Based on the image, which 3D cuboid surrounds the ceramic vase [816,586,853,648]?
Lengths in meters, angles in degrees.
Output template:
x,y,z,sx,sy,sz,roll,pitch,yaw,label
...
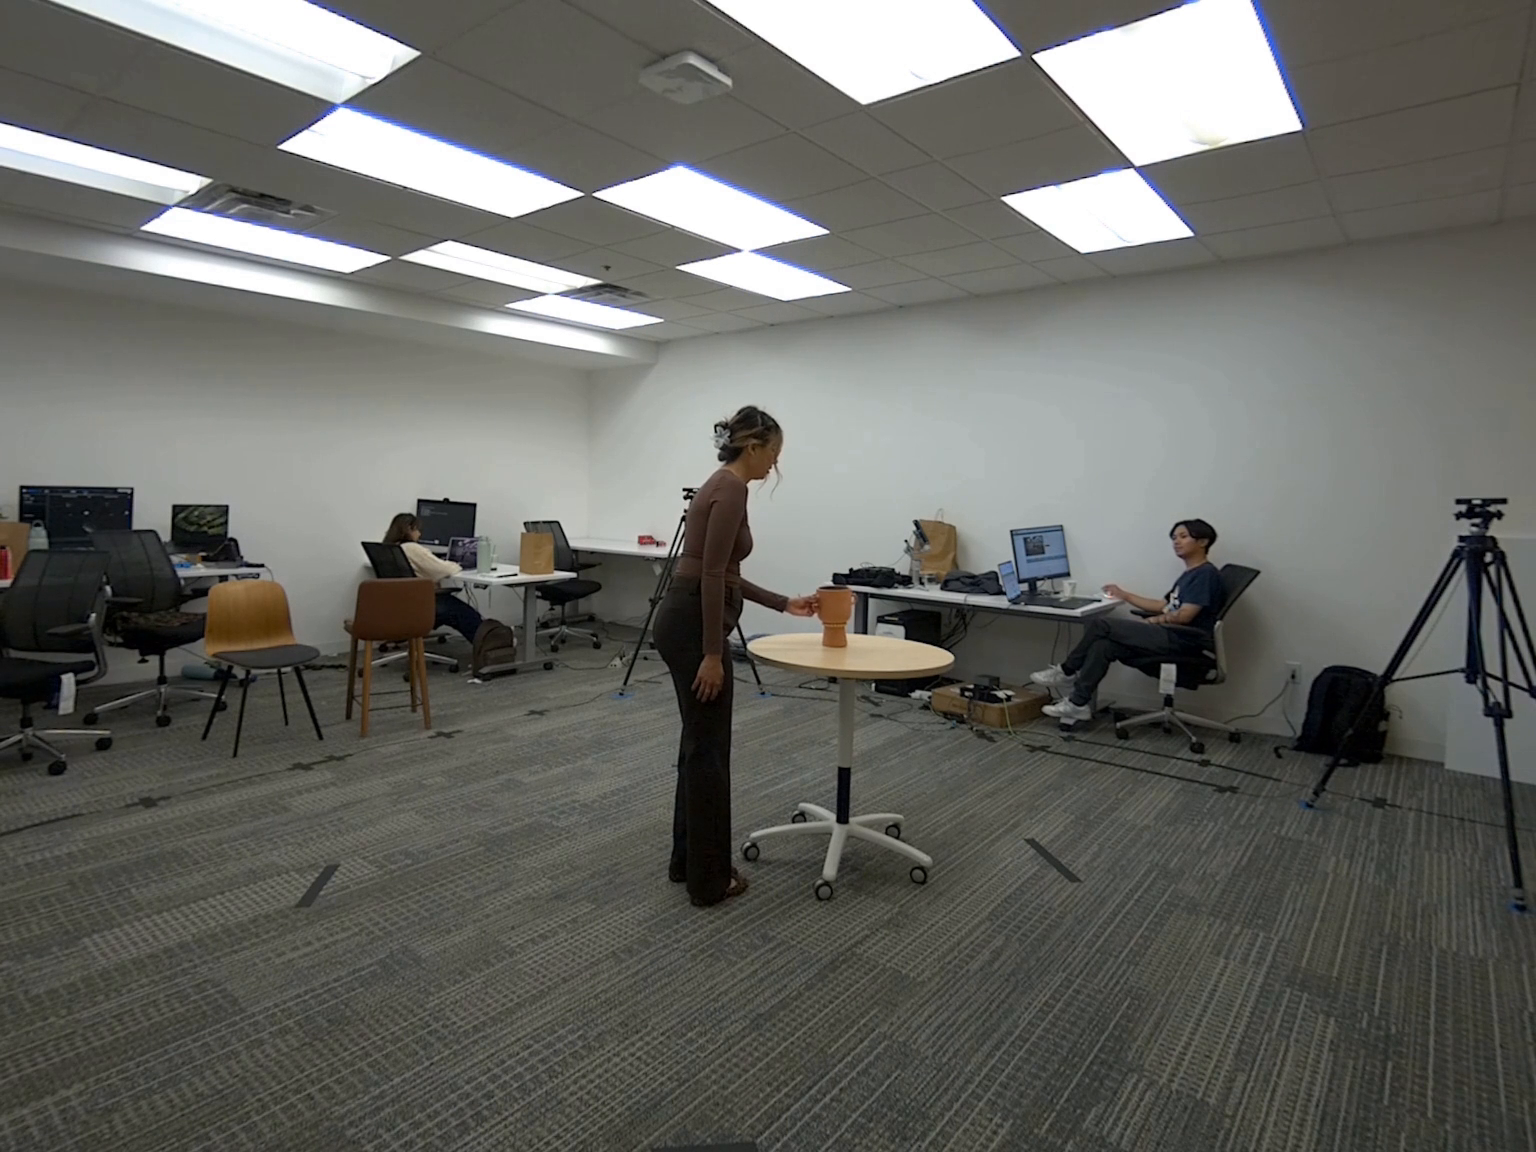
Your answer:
x,y,z,sx,sy,sz,roll,pitch,yaw,label
0.245,0.153,3.277,0.162,0.219,0.133,1,5,17,ceramic vase
